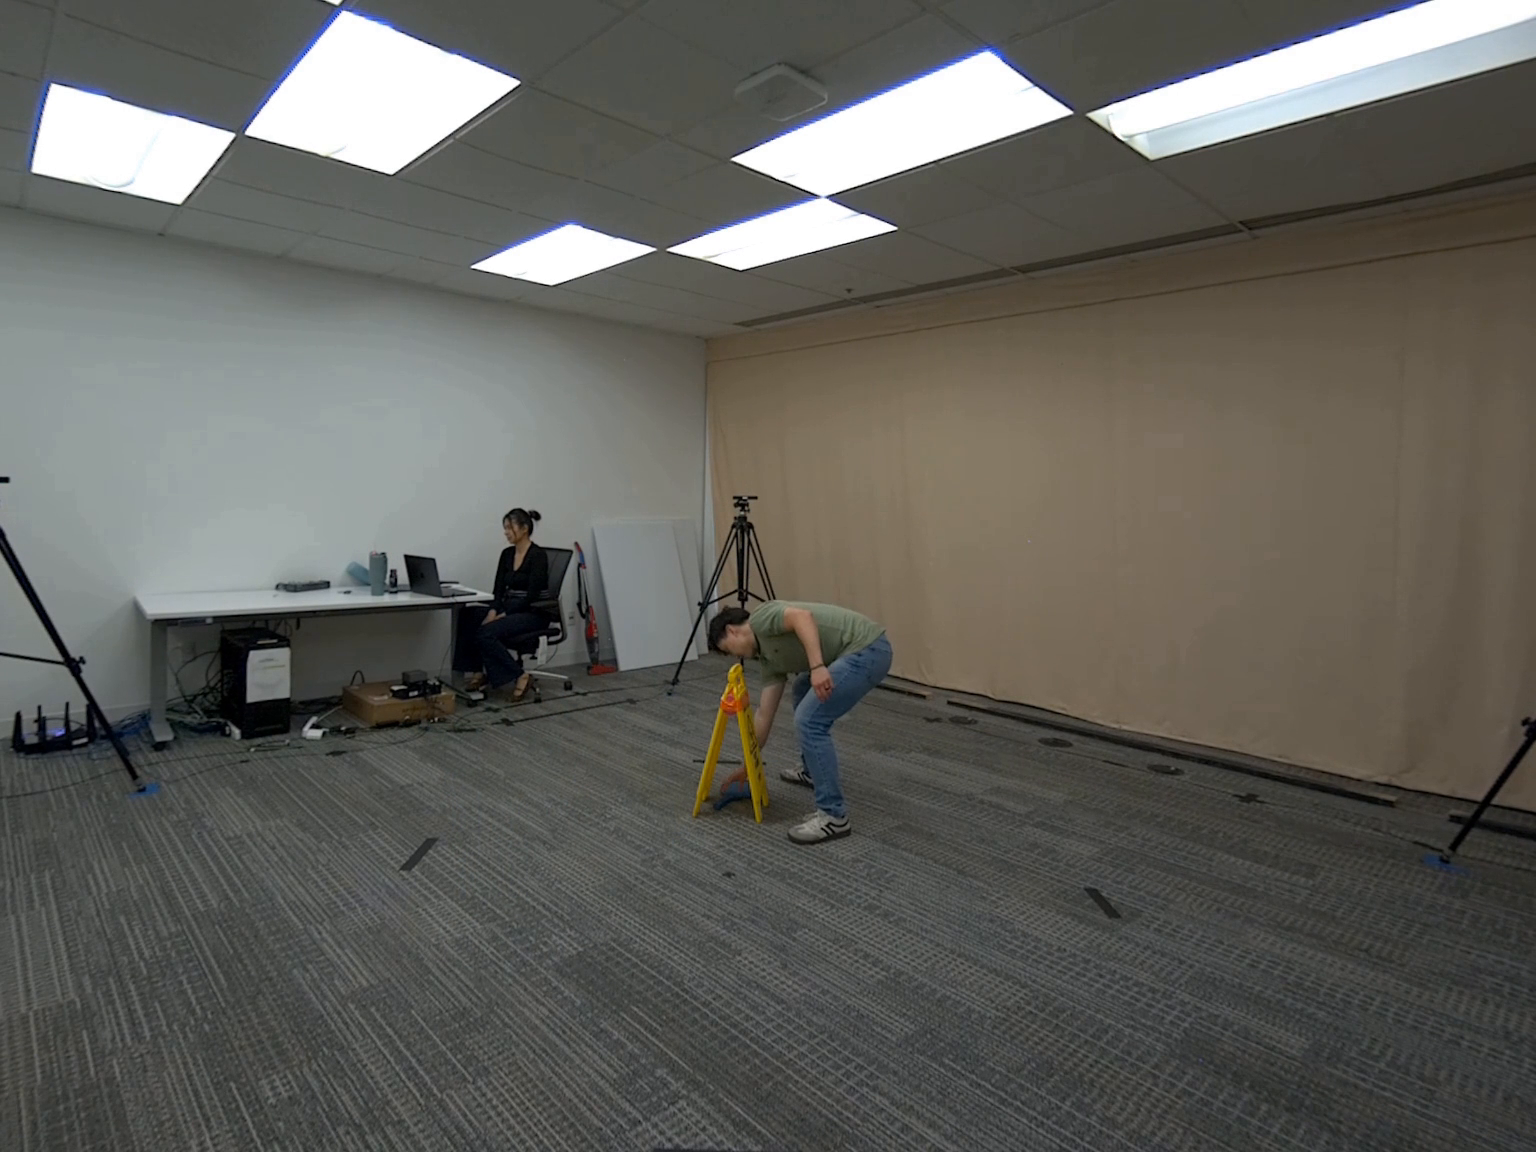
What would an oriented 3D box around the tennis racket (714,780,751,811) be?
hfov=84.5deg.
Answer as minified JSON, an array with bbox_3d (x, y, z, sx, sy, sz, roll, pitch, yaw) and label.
[{"bbox_3d":[-0.157,1.016,3.949,0.217,0.032,0.426,3,5,21],"label":"tennis racket"}]
